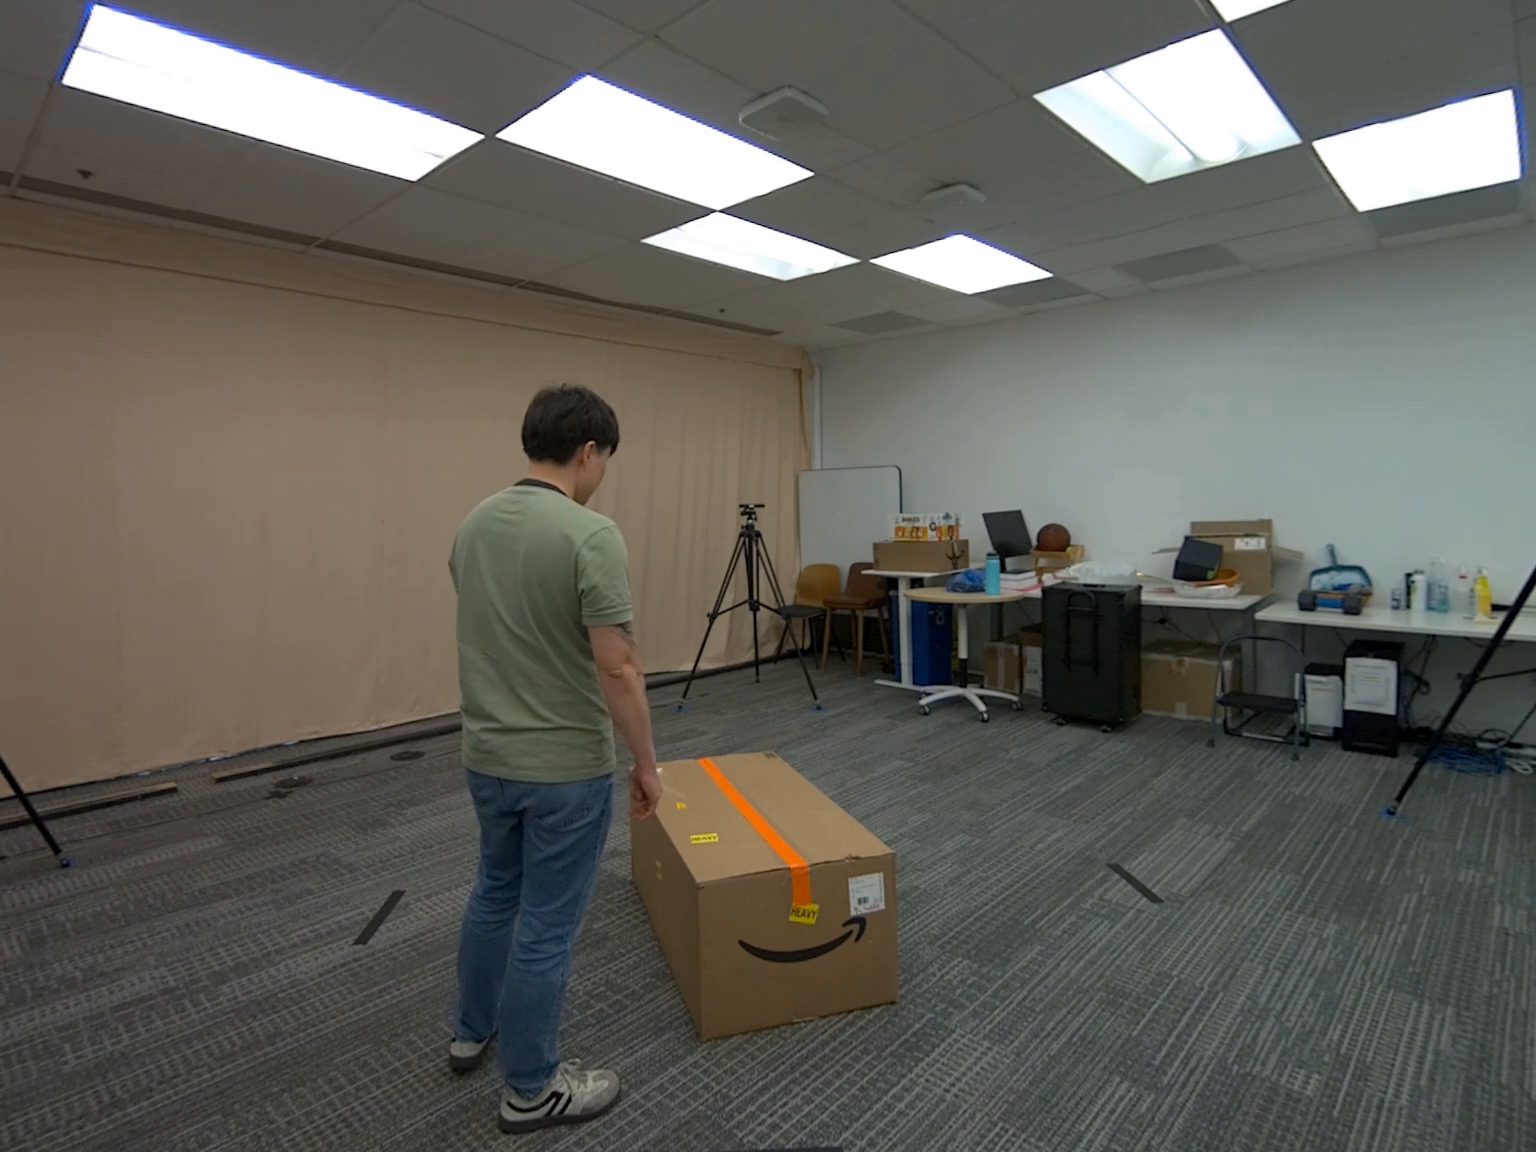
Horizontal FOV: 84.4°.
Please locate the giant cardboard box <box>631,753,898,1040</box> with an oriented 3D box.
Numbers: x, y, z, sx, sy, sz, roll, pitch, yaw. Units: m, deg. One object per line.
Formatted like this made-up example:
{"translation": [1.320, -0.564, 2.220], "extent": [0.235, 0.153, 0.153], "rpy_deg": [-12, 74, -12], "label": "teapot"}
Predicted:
{"translation": [-0.072, 0.943, 2.741], "extent": [0.567, 0.425, 1.047], "rpy_deg": [-3, 5, -19], "label": "giant cardboard box"}
